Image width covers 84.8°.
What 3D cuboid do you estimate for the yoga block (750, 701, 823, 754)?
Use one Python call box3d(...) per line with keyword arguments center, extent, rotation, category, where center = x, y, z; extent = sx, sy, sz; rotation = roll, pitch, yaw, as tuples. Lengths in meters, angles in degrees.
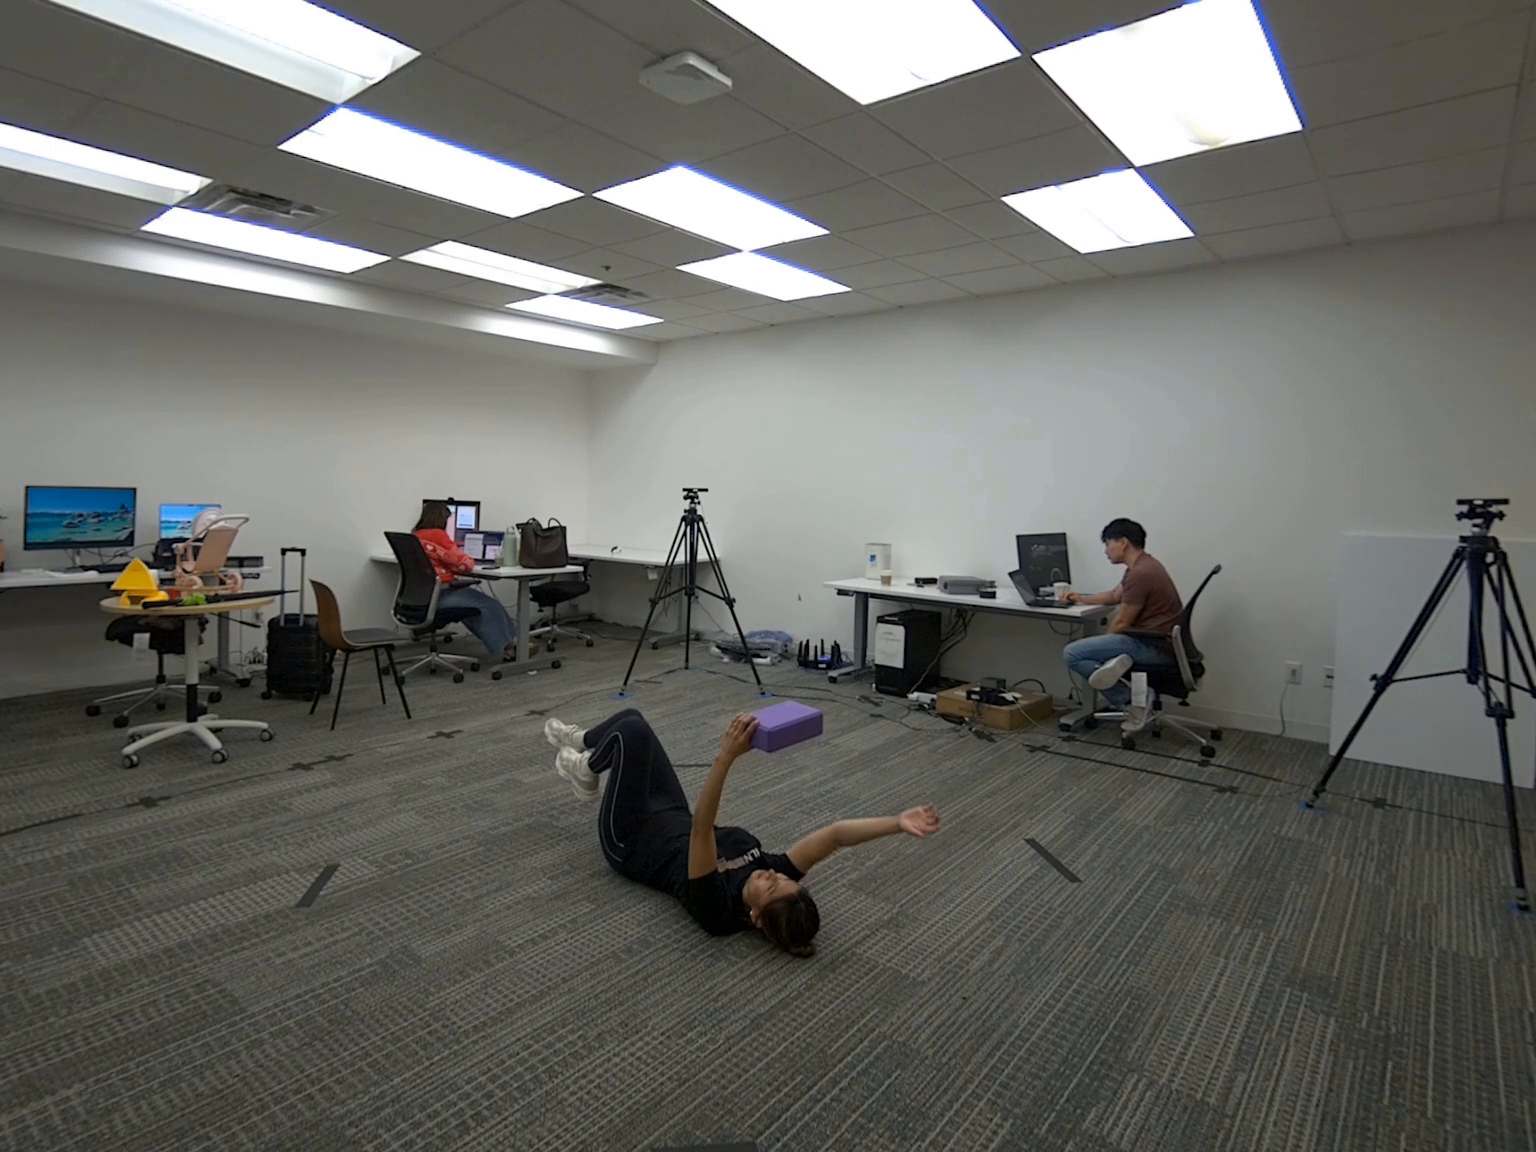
box3d(center=(0.037, 0.447, 2.511), extent=(0.223, 0.076, 0.154), rotation=(-9, 12, -37), category="yoga block")
